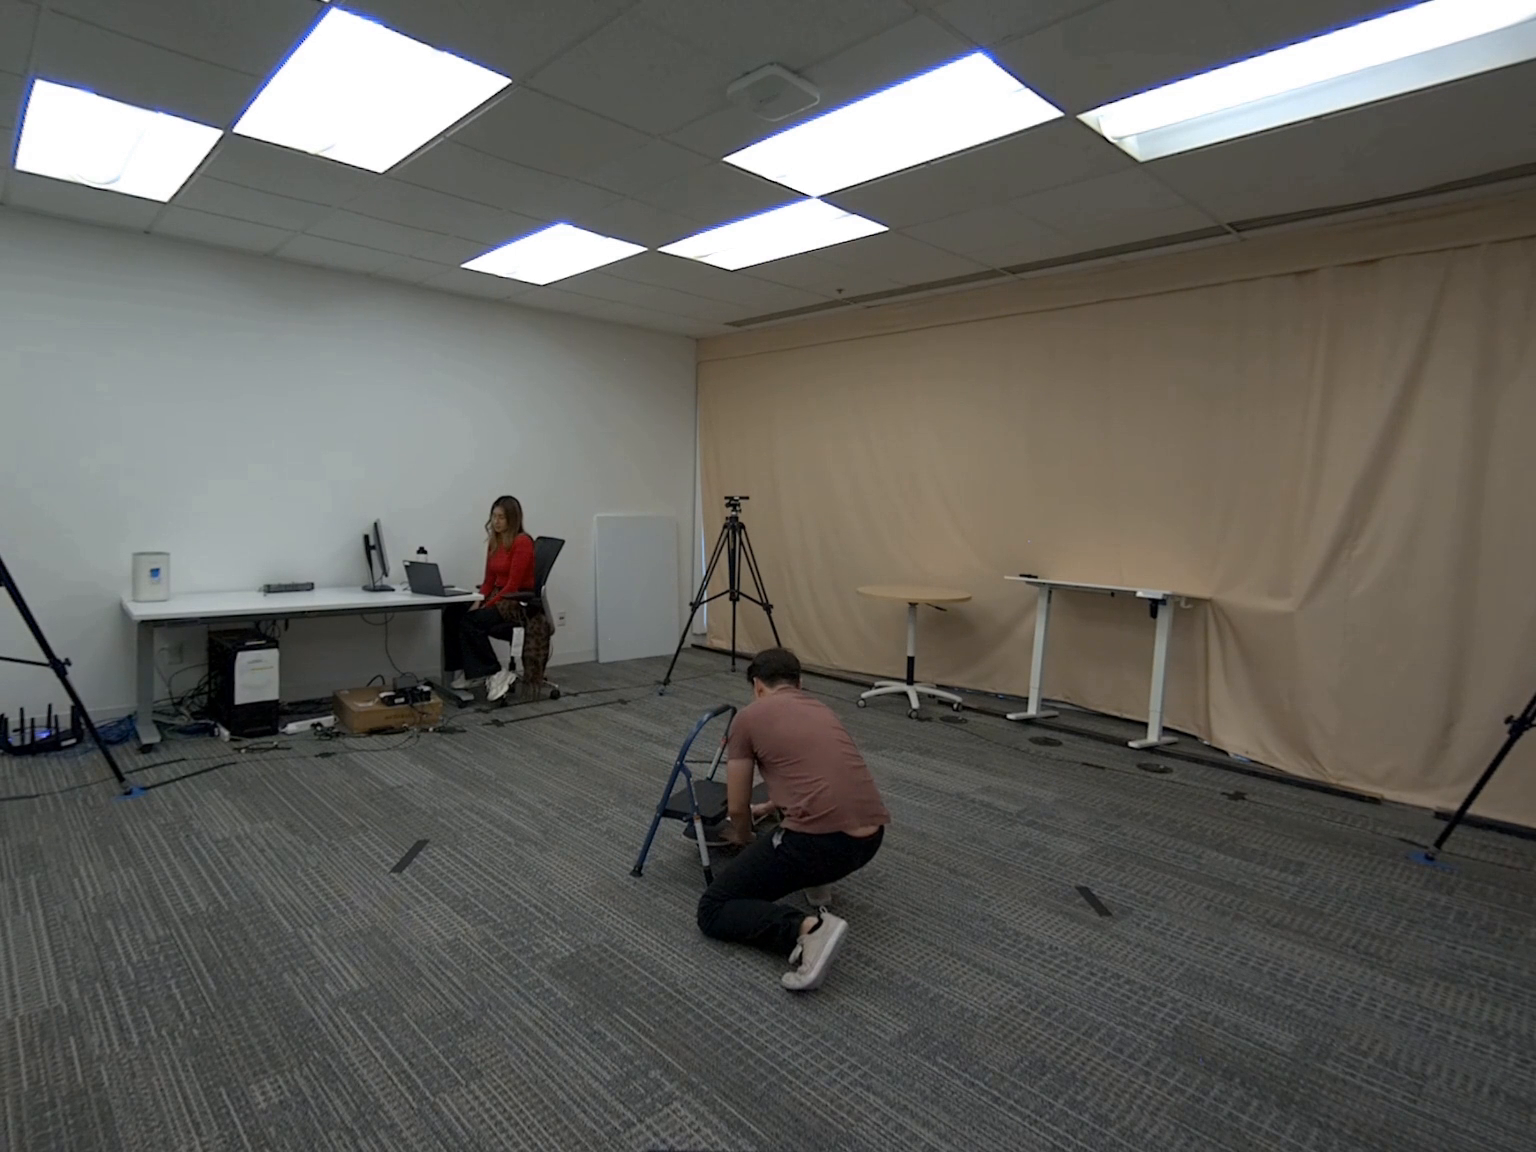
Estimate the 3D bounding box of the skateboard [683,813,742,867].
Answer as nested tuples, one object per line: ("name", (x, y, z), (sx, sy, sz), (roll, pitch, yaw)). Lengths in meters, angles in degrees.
("skateboard", (-0.110, 1.014, 3.500), (0.197, 0.110, 0.772), (5, 5, 23))
